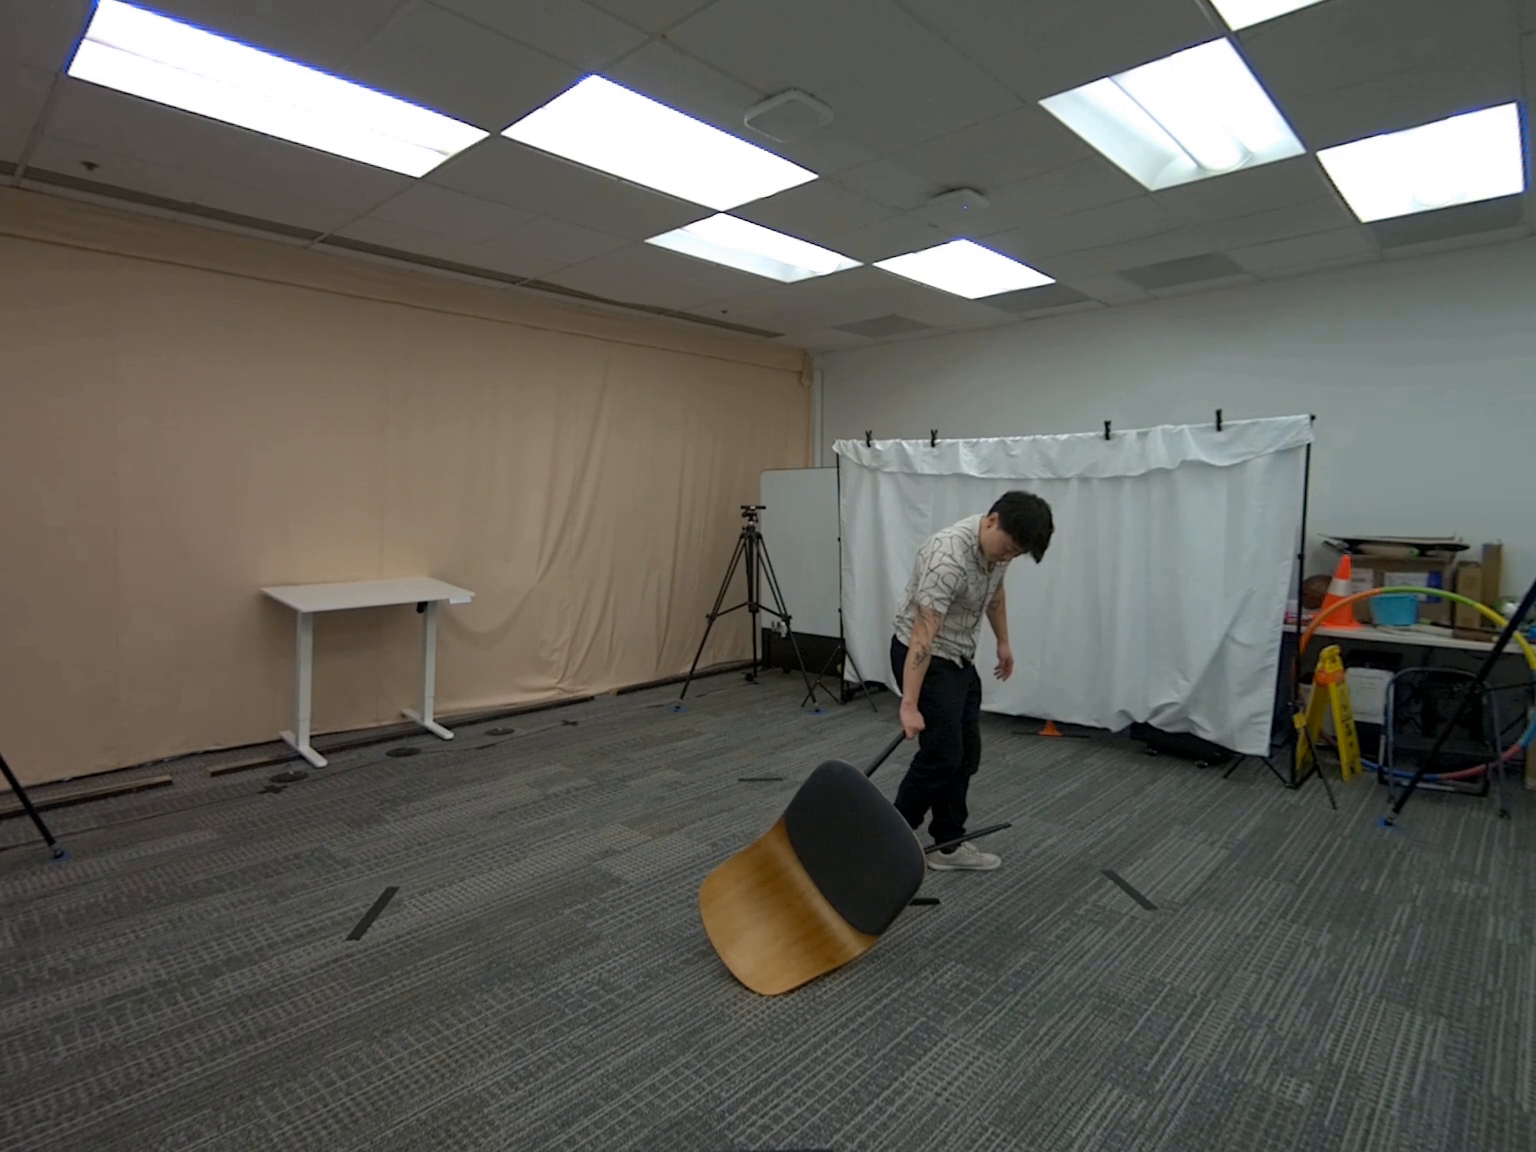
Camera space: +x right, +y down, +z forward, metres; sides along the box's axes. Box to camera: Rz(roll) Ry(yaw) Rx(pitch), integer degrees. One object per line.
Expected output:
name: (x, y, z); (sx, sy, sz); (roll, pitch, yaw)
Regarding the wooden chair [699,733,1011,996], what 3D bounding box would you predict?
wooden chair: (0.260, 0.864, 2.622); (0.853, 0.521, 0.493); (-12, 48, -40)
